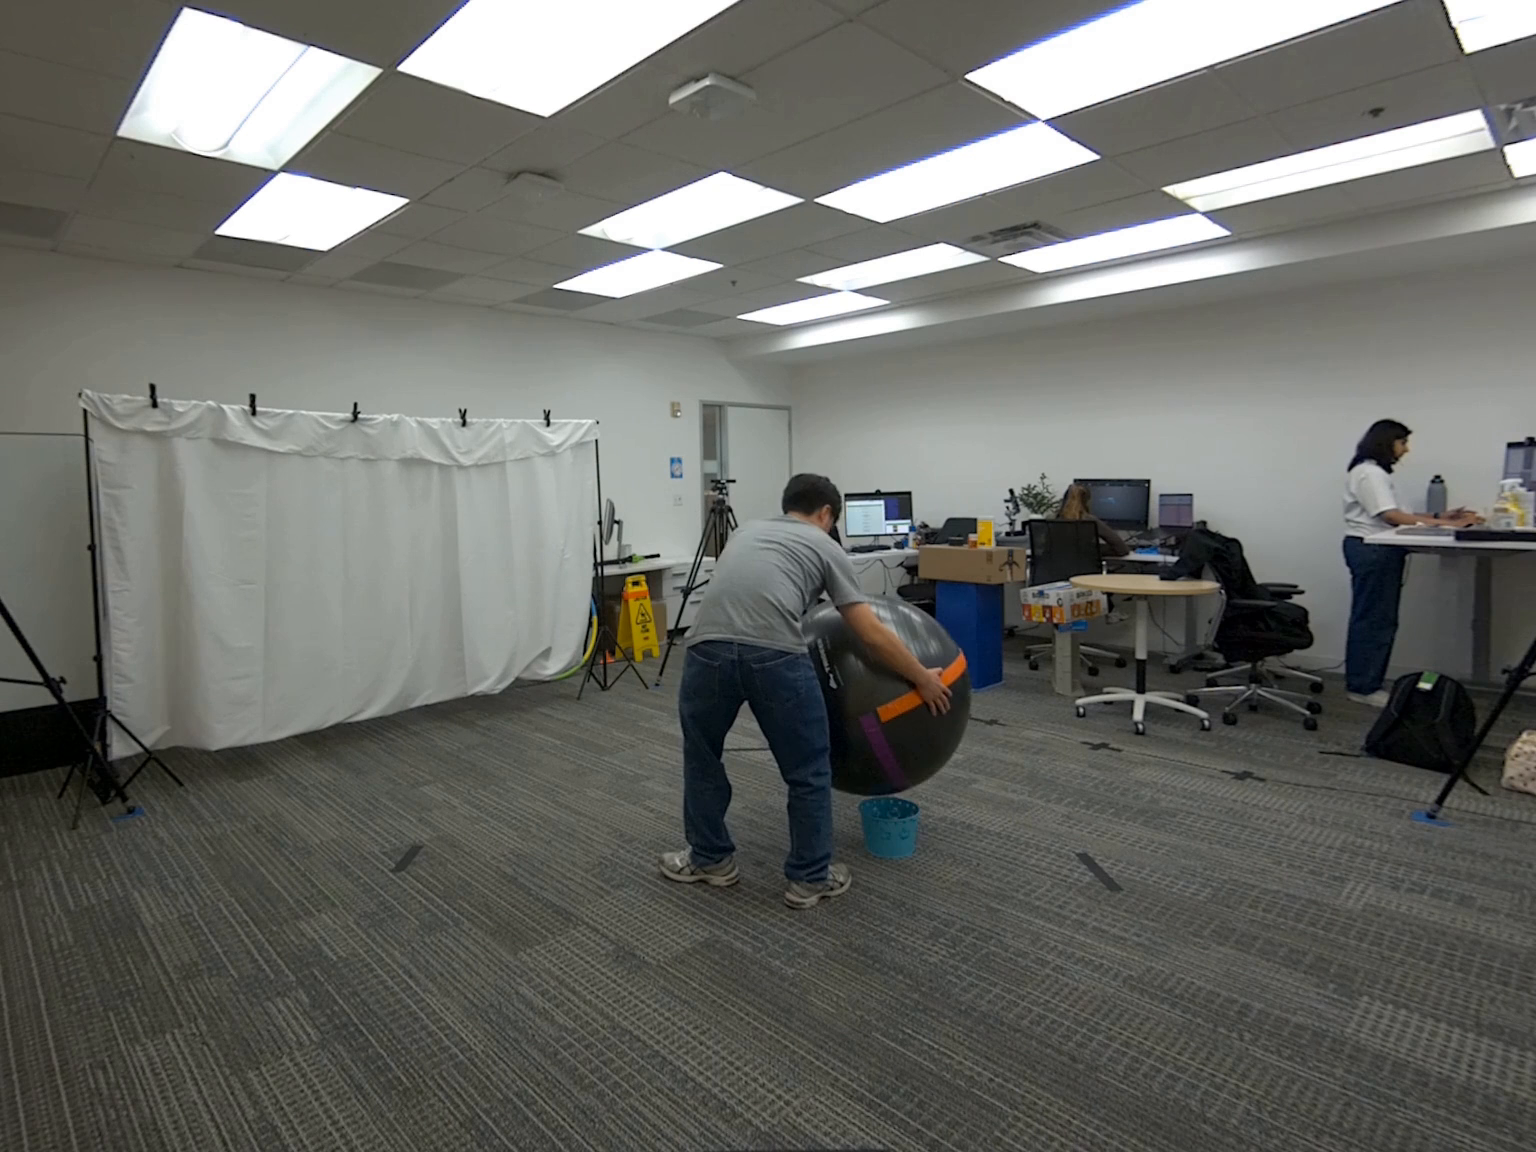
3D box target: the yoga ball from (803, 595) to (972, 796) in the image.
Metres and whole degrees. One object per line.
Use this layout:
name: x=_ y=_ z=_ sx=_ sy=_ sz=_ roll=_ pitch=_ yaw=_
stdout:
yoga ball: x=0.377 y=0.451 z=3.271 sx=0.757 sy=0.755 sz=0.762 roll=-1 pitch=5 yaw=-2
